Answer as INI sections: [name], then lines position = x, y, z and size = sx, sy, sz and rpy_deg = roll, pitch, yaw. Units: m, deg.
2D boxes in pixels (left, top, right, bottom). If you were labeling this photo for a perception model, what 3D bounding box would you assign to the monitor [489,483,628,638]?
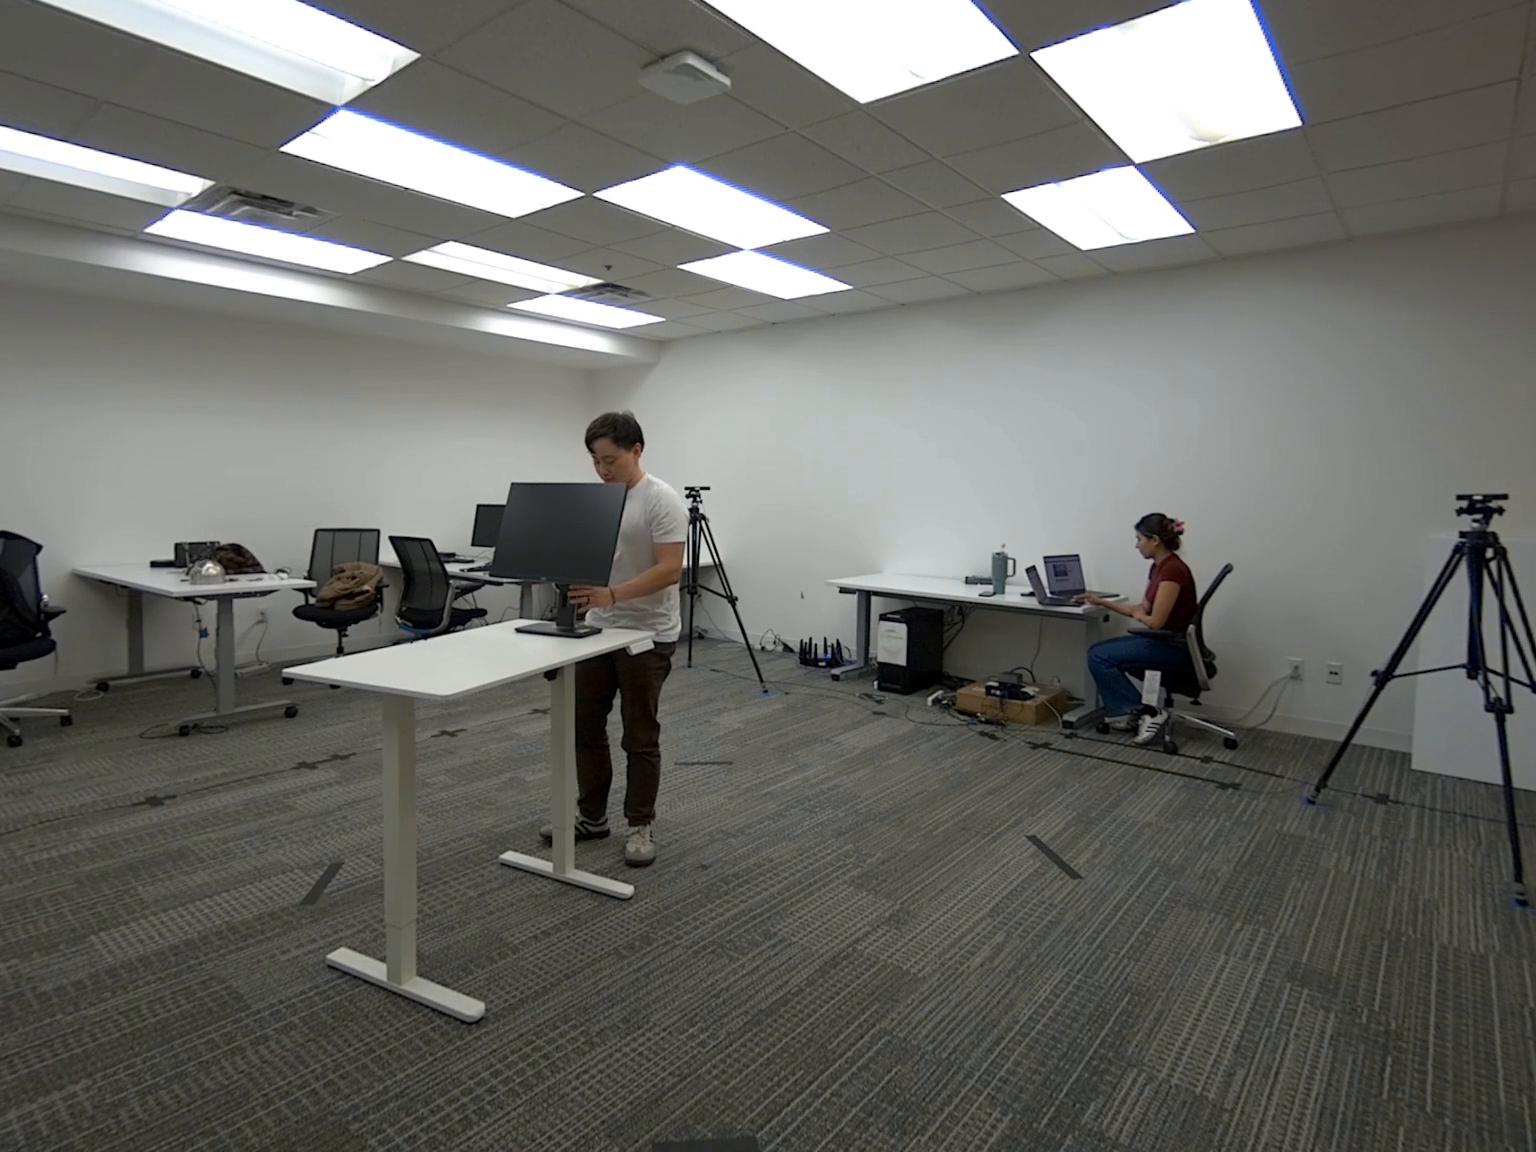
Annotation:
[monitor]
position = -0.725, -0.066, 2.941
size = 0.555, 0.523, 0.182
rpy_deg = 3, 0, 30
